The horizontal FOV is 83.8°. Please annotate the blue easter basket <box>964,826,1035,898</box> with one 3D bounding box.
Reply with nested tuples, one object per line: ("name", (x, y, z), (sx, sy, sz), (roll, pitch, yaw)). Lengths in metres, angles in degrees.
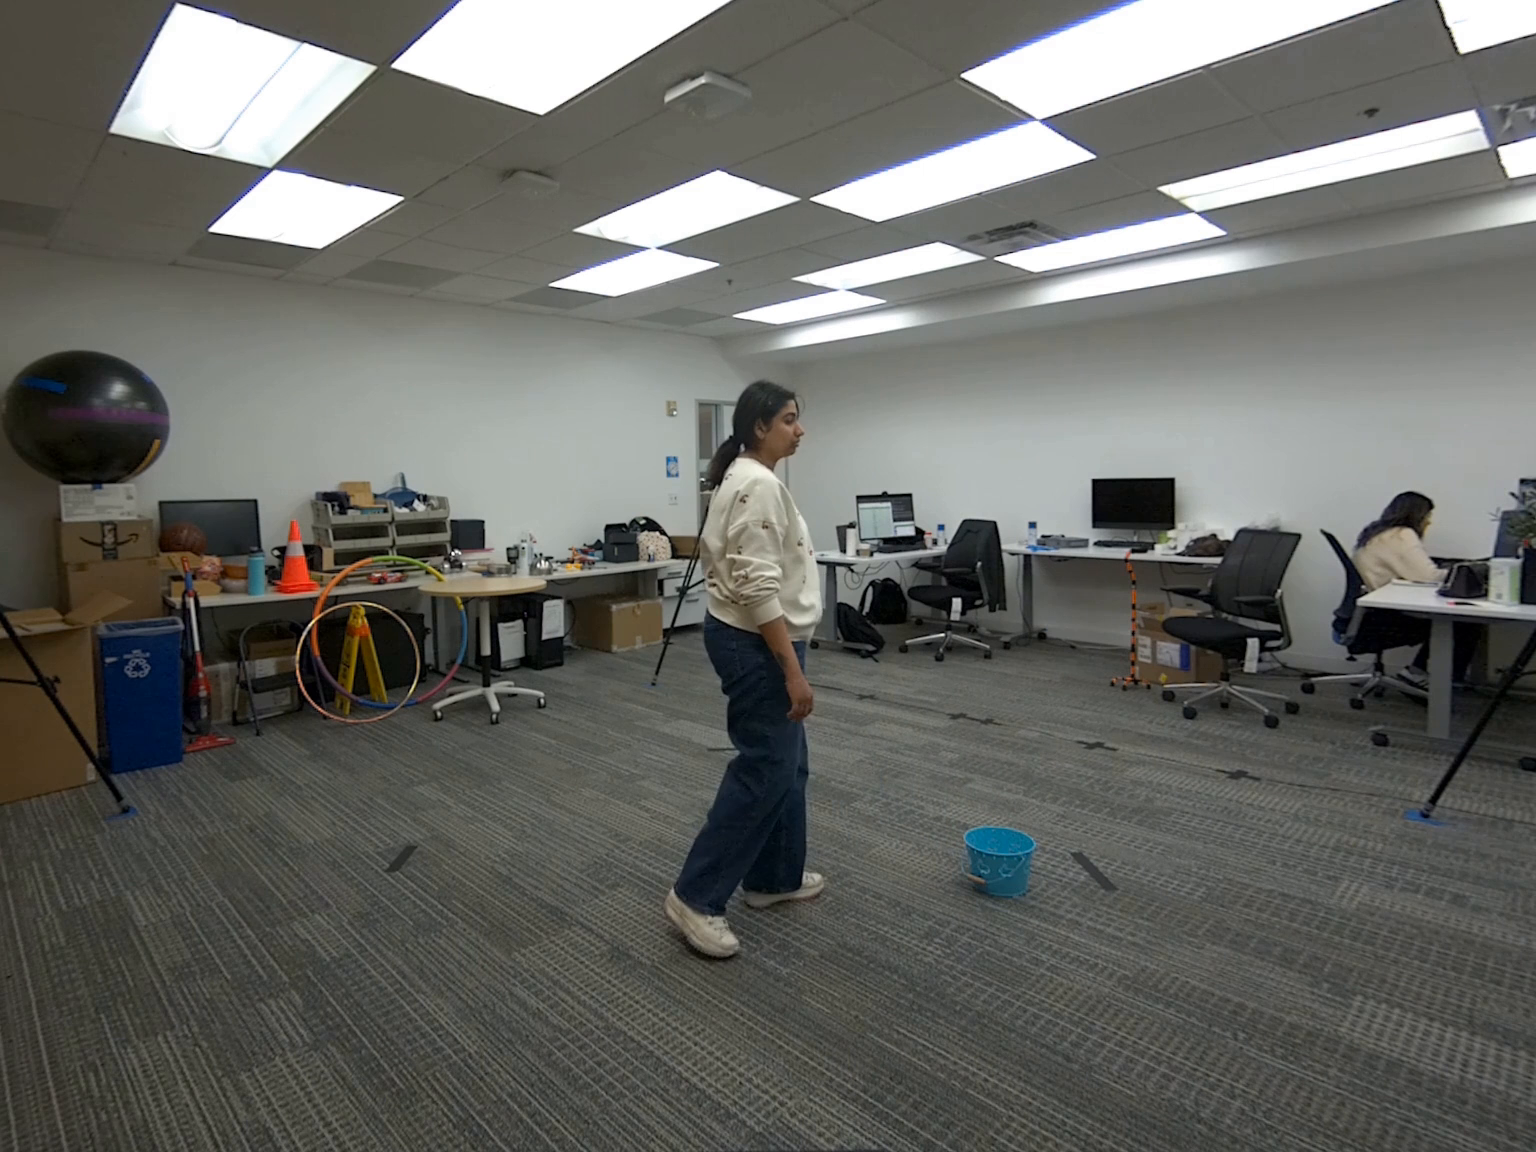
("blue easter basket", (0.785, 0.969, 2.915), (0.243, 0.155, 0.245), (-1, 5, -2))
